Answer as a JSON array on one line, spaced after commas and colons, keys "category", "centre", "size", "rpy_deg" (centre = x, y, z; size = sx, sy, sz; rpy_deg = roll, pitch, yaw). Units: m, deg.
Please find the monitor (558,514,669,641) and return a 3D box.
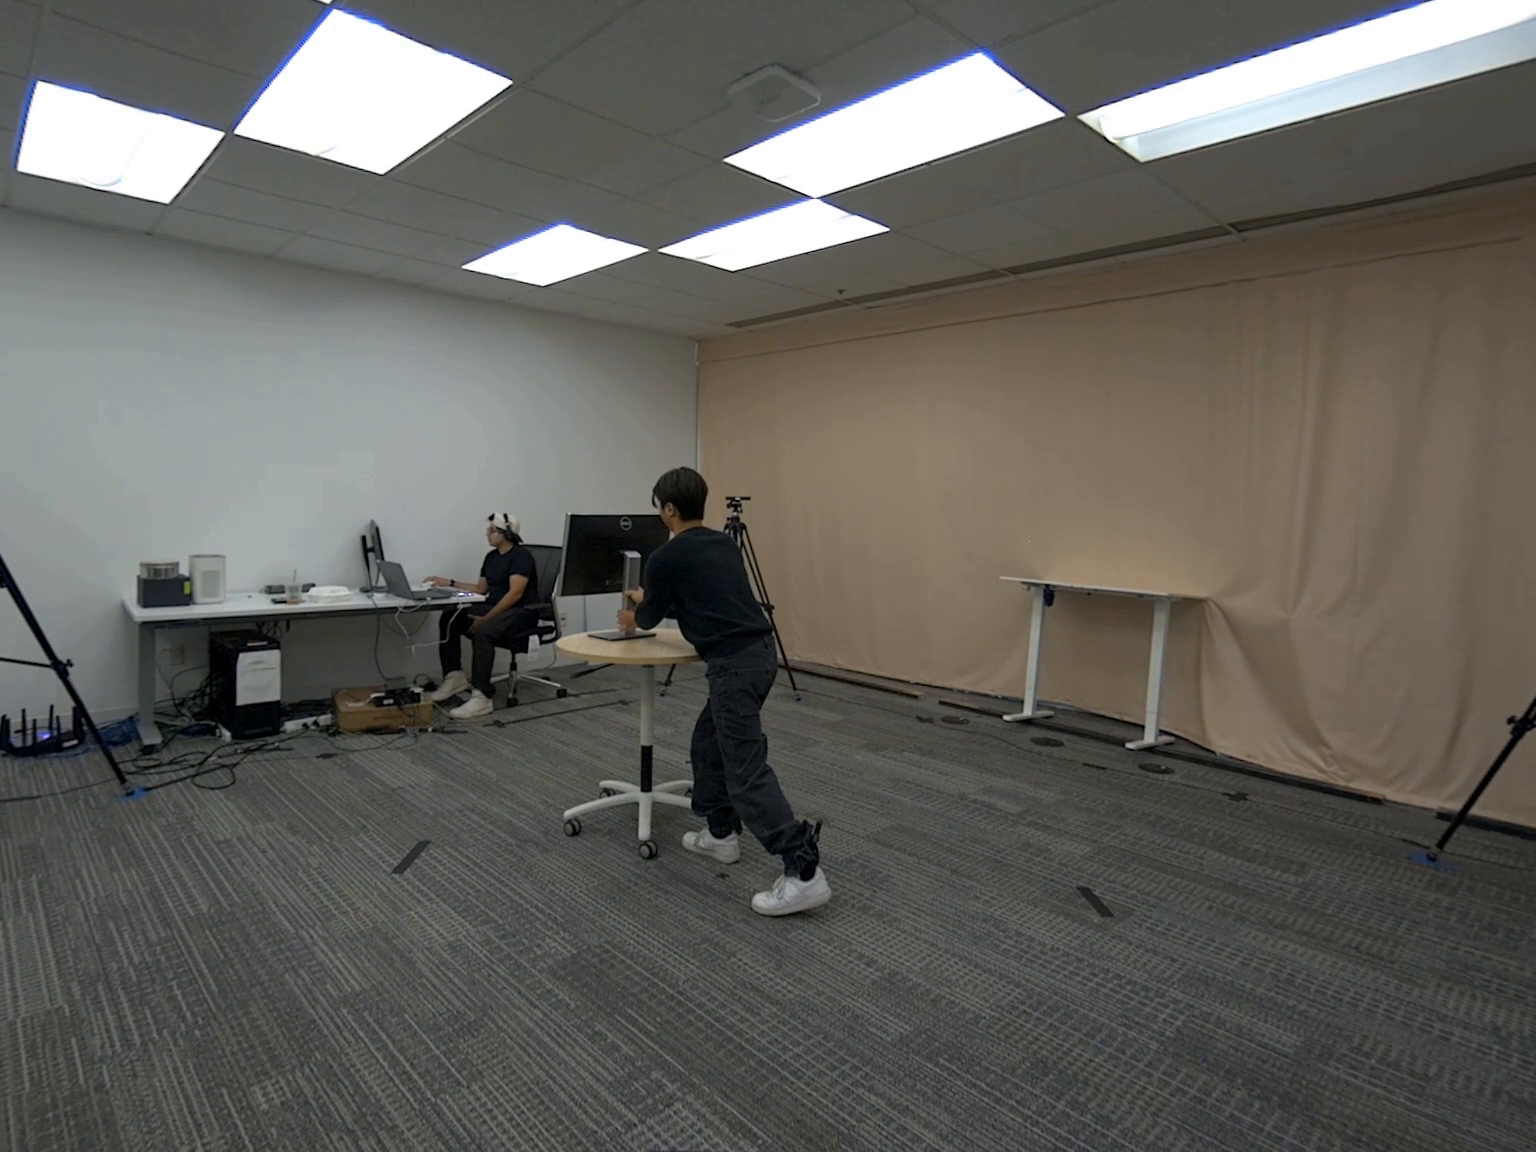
[{"category": "monitor", "centre": [-0.647, -0.009, 3.686], "size": [0.178, 0.516, 0.518], "rpy_deg": [-4, 1, 44]}]
